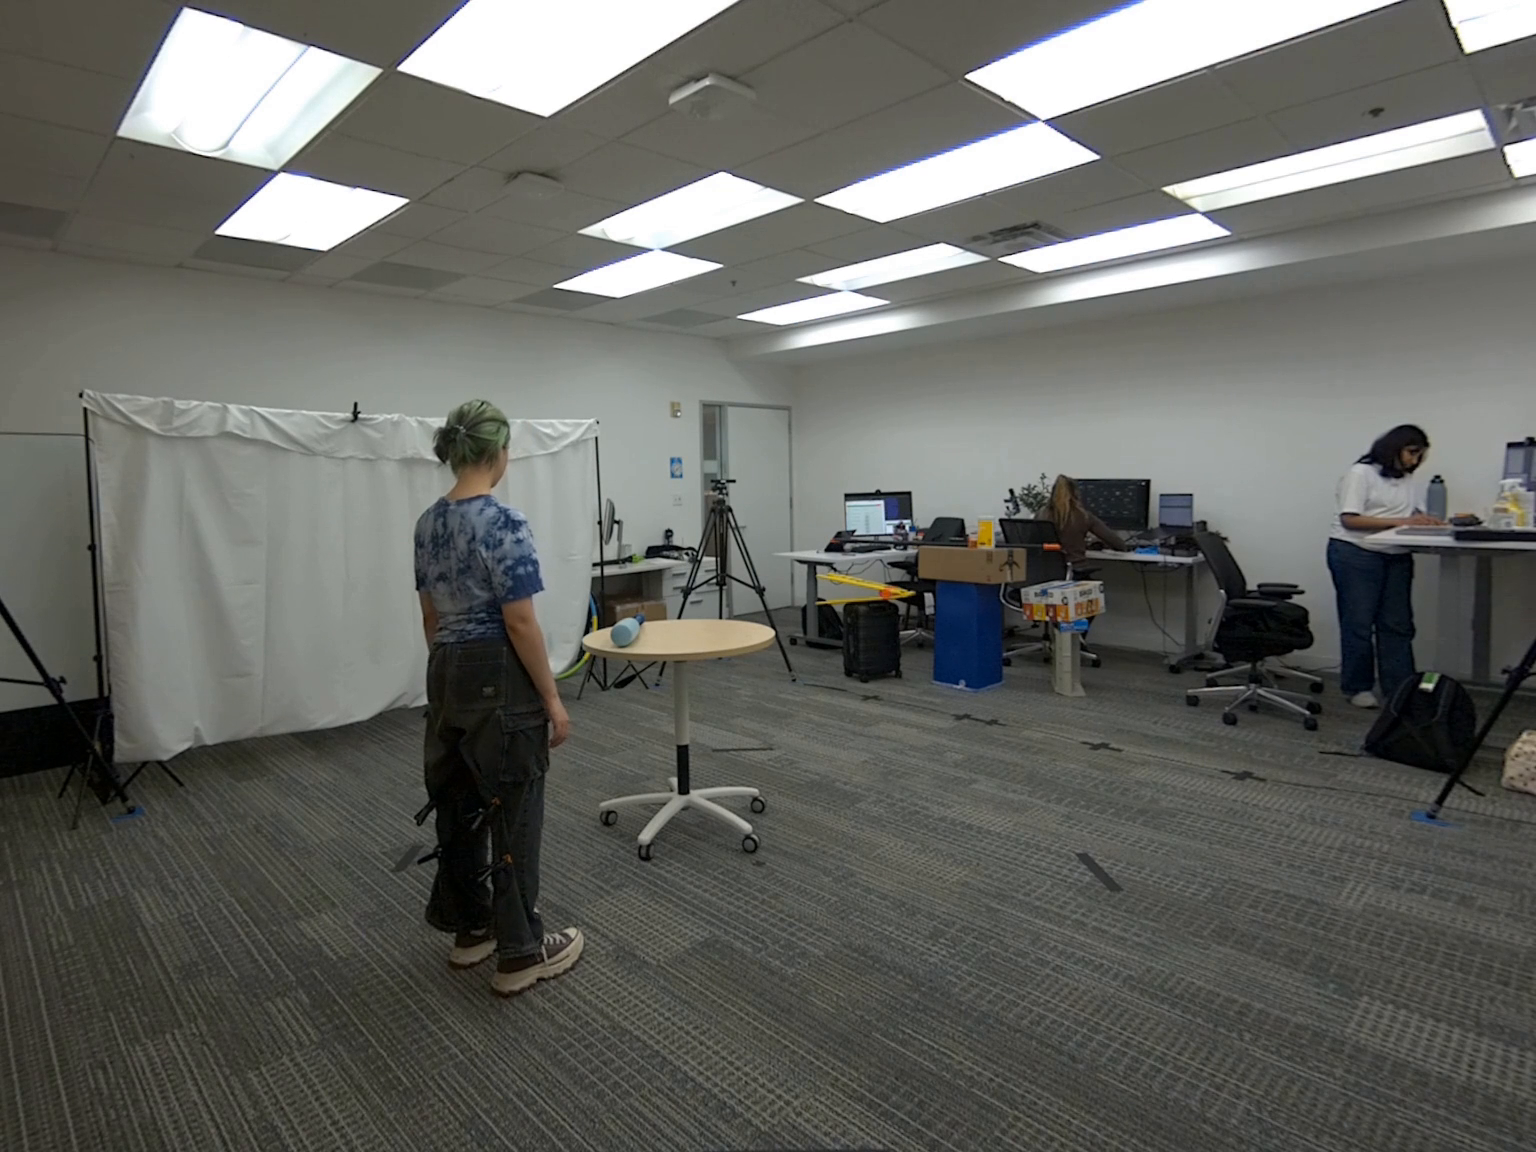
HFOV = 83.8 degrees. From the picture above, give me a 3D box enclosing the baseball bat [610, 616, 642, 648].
[{"bbox_3d":[-0.550,0.205,3.417,0.089,0.089,0.545,-1,4,-3],"label":"baseball bat"}]
